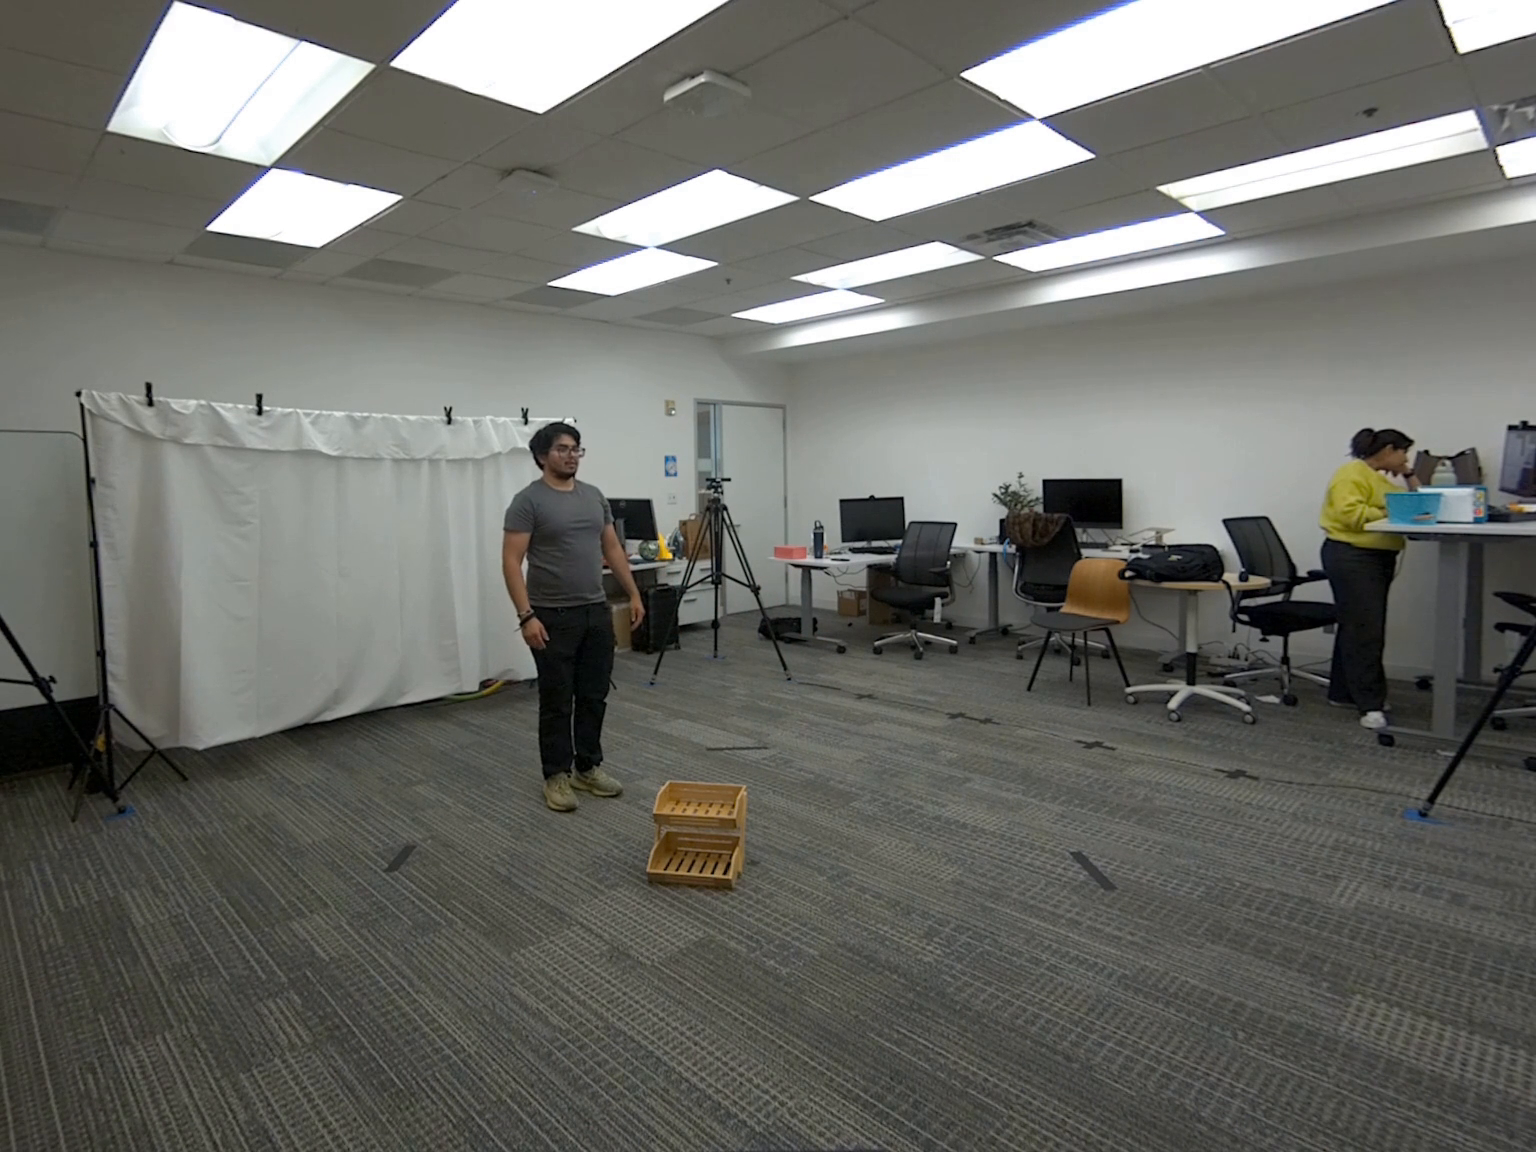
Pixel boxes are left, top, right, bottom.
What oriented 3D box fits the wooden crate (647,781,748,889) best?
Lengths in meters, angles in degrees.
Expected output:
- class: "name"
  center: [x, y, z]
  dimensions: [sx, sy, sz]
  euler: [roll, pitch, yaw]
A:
- class: "wooden crate"
  center: [-0.249, 0.917, 3.055]
  dimensions: [0.328, 0.272, 0.300]
  euler: [0, 4, 10]
